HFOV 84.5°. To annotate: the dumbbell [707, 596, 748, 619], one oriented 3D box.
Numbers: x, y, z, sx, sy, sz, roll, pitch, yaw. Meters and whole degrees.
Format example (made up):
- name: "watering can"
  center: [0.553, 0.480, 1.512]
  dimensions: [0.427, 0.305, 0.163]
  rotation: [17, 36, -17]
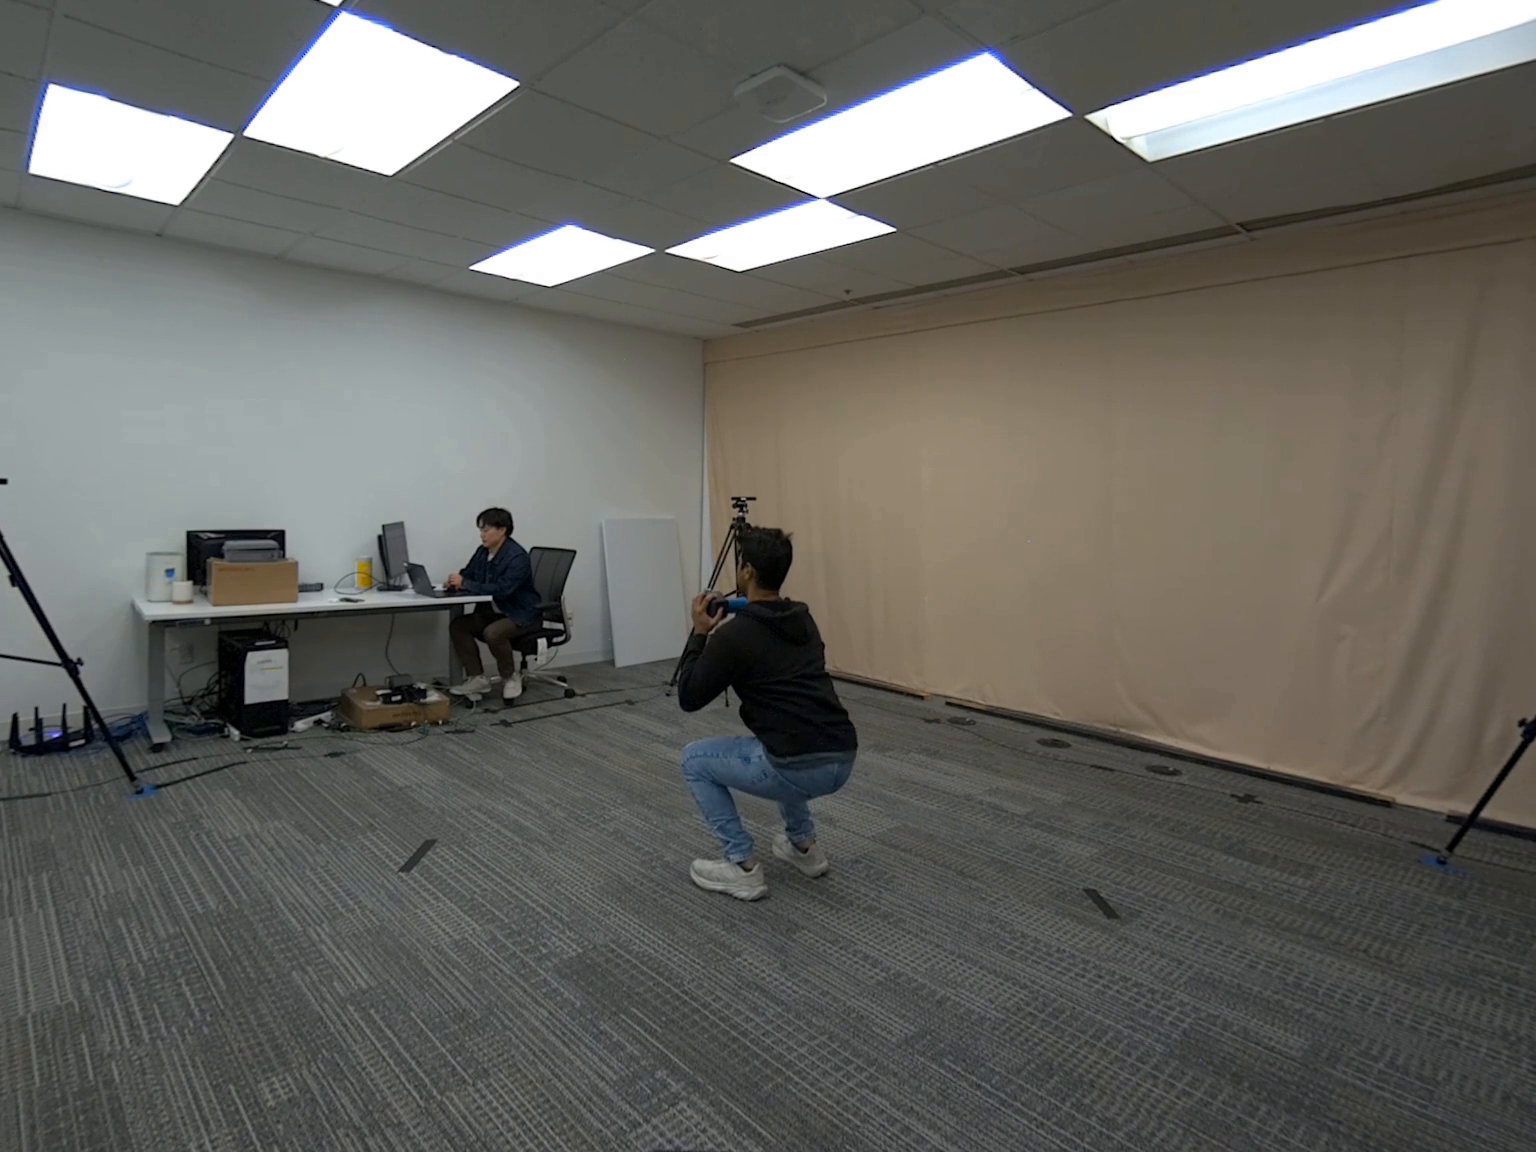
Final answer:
- name: "dumbbell"
  center: [-0.135, 0.116, 3.220]
  dimensions: [0.112, 0.122, 0.287]
  rotation: [11, 12, 44]
